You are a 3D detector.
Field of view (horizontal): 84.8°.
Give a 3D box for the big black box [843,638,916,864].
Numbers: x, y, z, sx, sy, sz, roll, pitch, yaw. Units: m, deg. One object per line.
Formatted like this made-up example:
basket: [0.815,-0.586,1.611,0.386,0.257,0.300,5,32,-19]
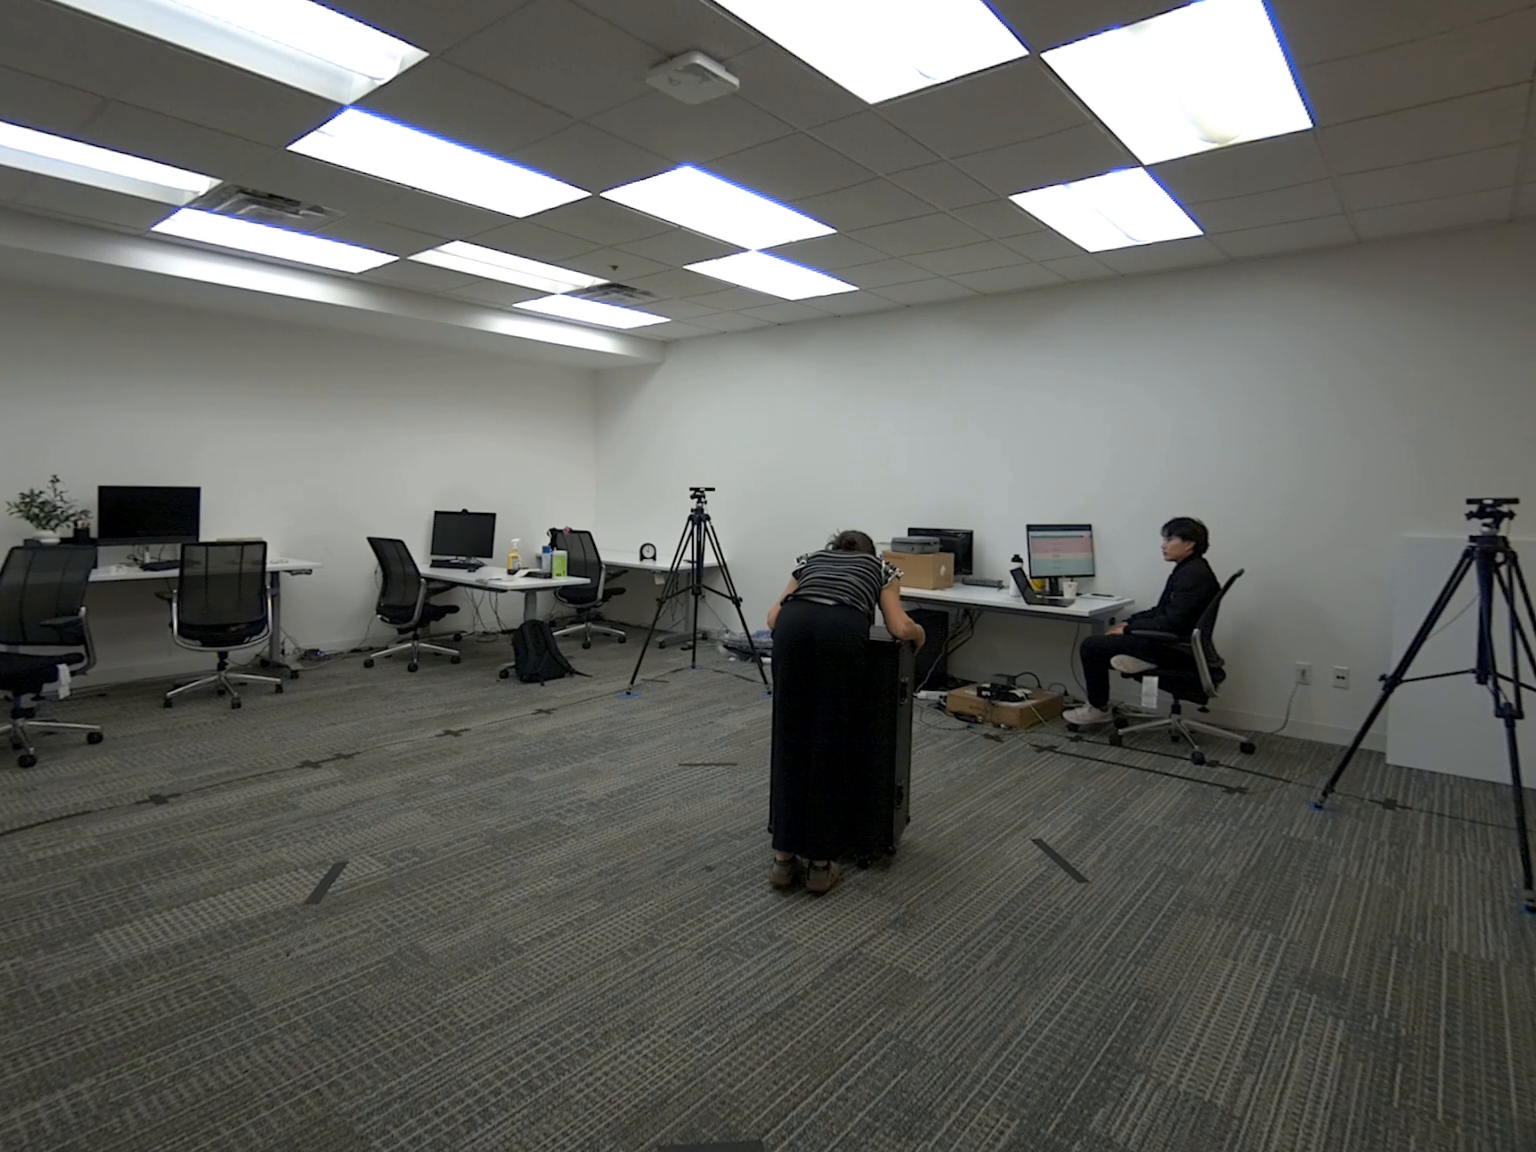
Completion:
big black box: [0.290,0.644,3.355,0.533,0.860,0.388,3,2,20]
